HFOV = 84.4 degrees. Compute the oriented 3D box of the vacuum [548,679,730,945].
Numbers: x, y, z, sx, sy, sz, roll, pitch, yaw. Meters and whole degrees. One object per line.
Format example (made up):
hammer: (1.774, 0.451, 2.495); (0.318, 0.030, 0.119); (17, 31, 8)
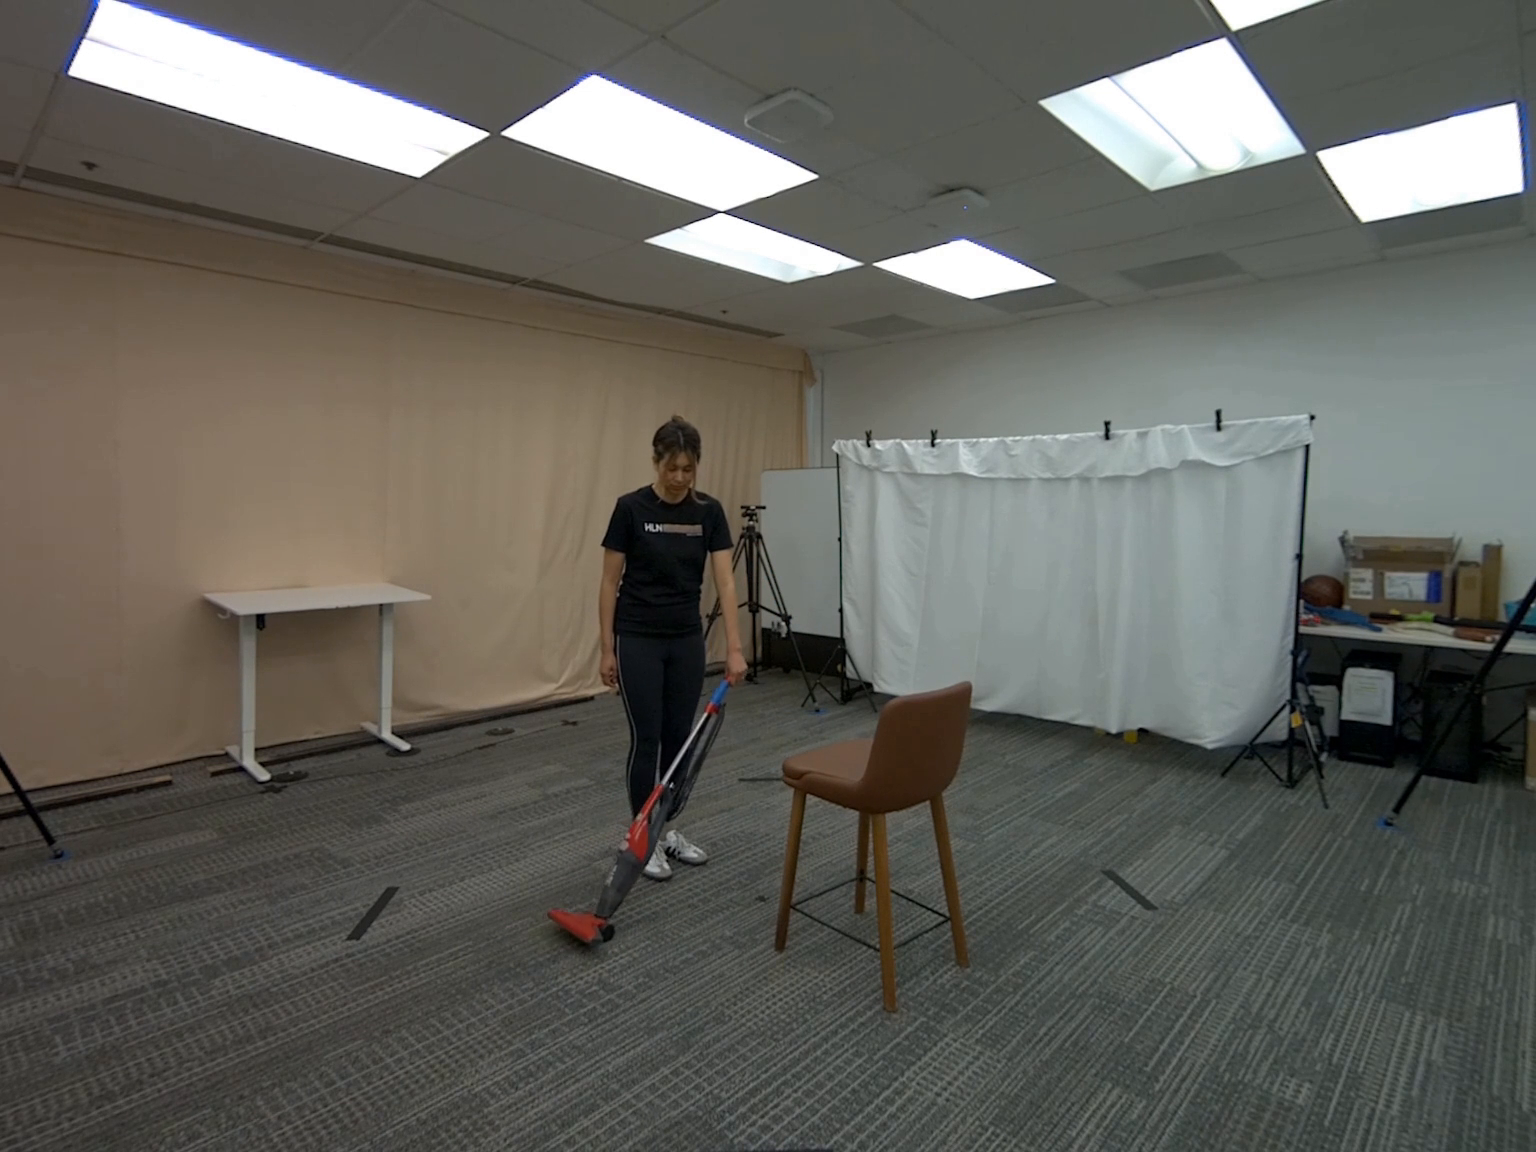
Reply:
vacuum: (-0.329, 0.745, 2.941); (0.261, 1.047, 0.139); (7, -36, 45)
